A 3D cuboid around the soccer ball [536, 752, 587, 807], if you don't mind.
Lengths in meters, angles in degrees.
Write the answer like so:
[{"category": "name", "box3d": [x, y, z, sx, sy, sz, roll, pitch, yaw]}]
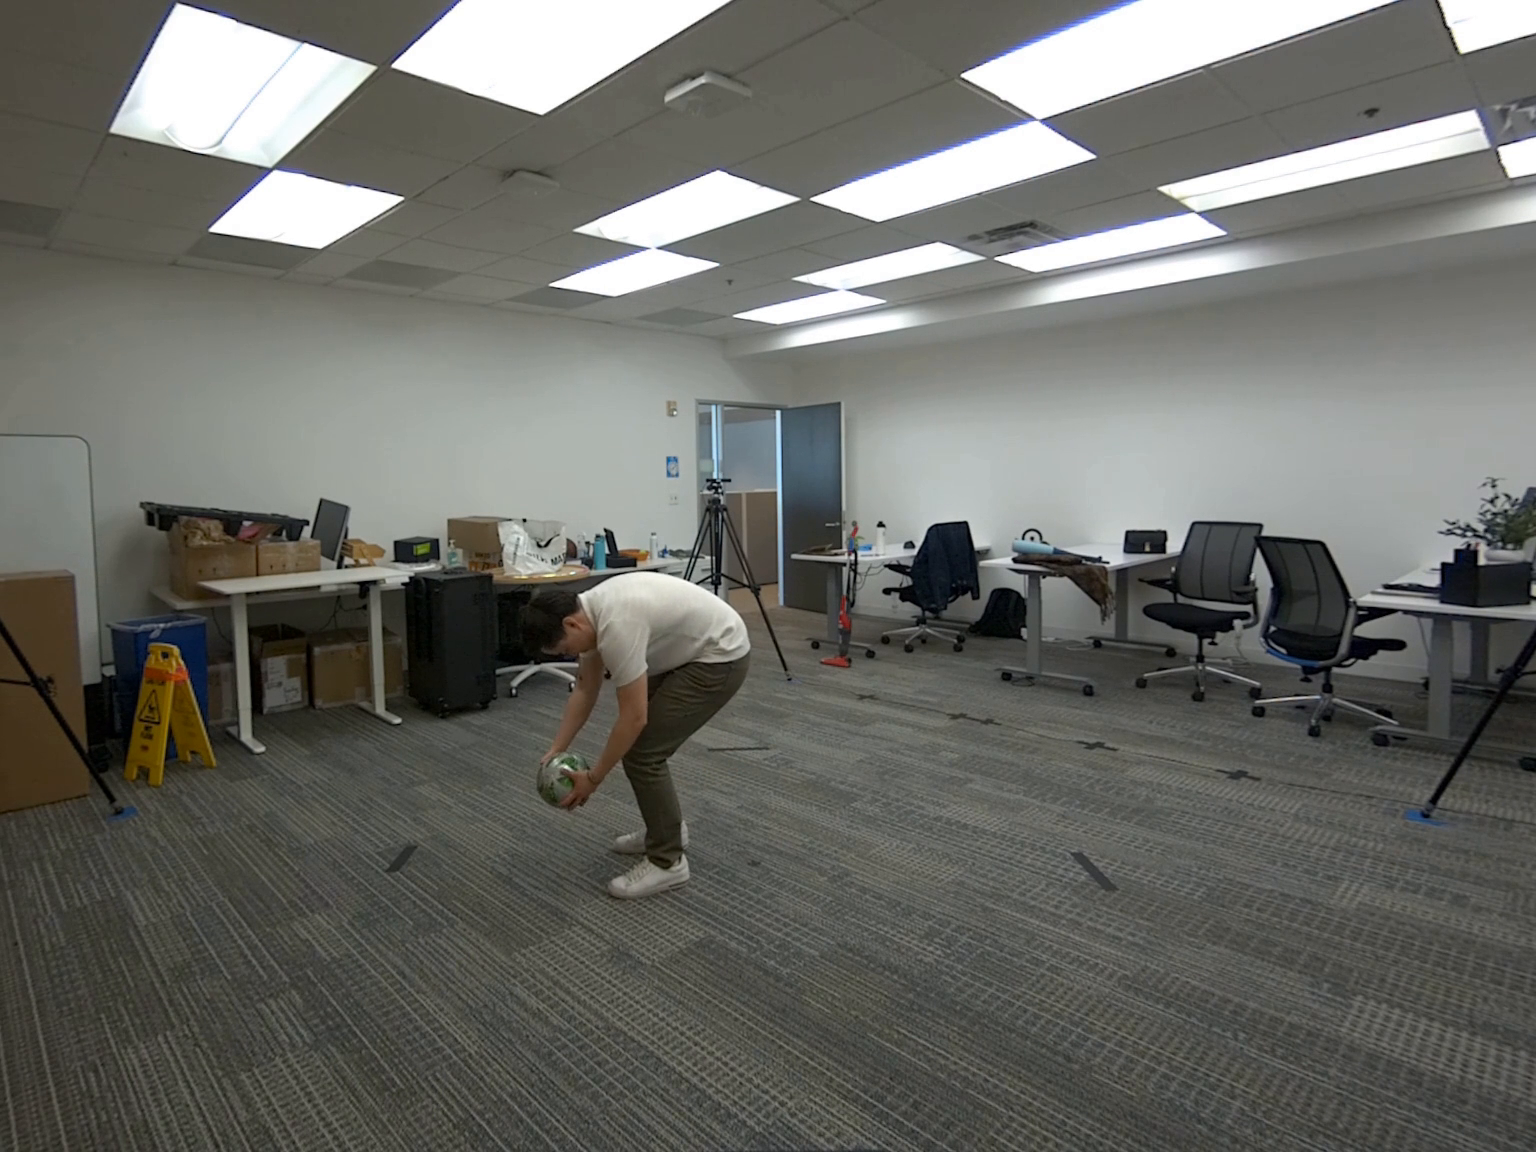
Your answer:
[{"category": "soccer ball", "box3d": [-0.683, 0.693, 2.952, 0.187, 0.187, 0.188, -1, 5, -2]}]
